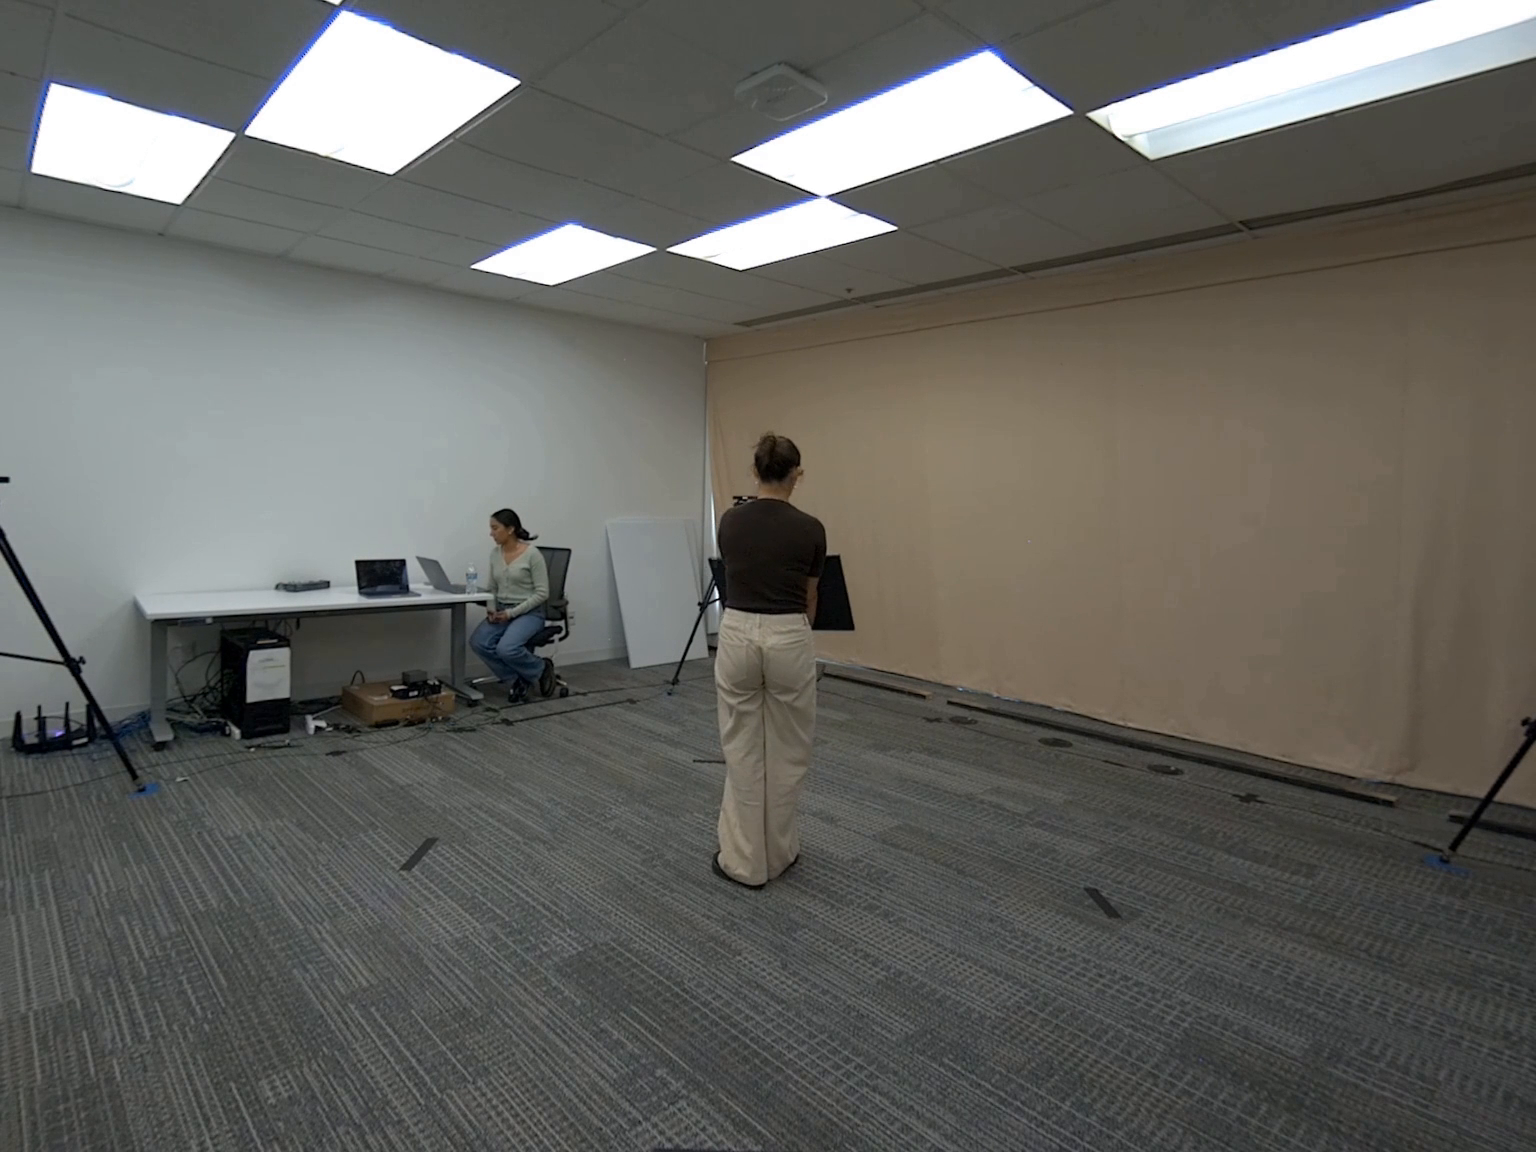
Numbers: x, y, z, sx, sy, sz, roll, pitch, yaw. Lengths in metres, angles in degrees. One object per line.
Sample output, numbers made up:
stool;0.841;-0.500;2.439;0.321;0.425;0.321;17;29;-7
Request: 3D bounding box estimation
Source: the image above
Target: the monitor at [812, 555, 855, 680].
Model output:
monitor;0.050;0.166;3.290;0.547;0.515;0.187;-2;18;21
